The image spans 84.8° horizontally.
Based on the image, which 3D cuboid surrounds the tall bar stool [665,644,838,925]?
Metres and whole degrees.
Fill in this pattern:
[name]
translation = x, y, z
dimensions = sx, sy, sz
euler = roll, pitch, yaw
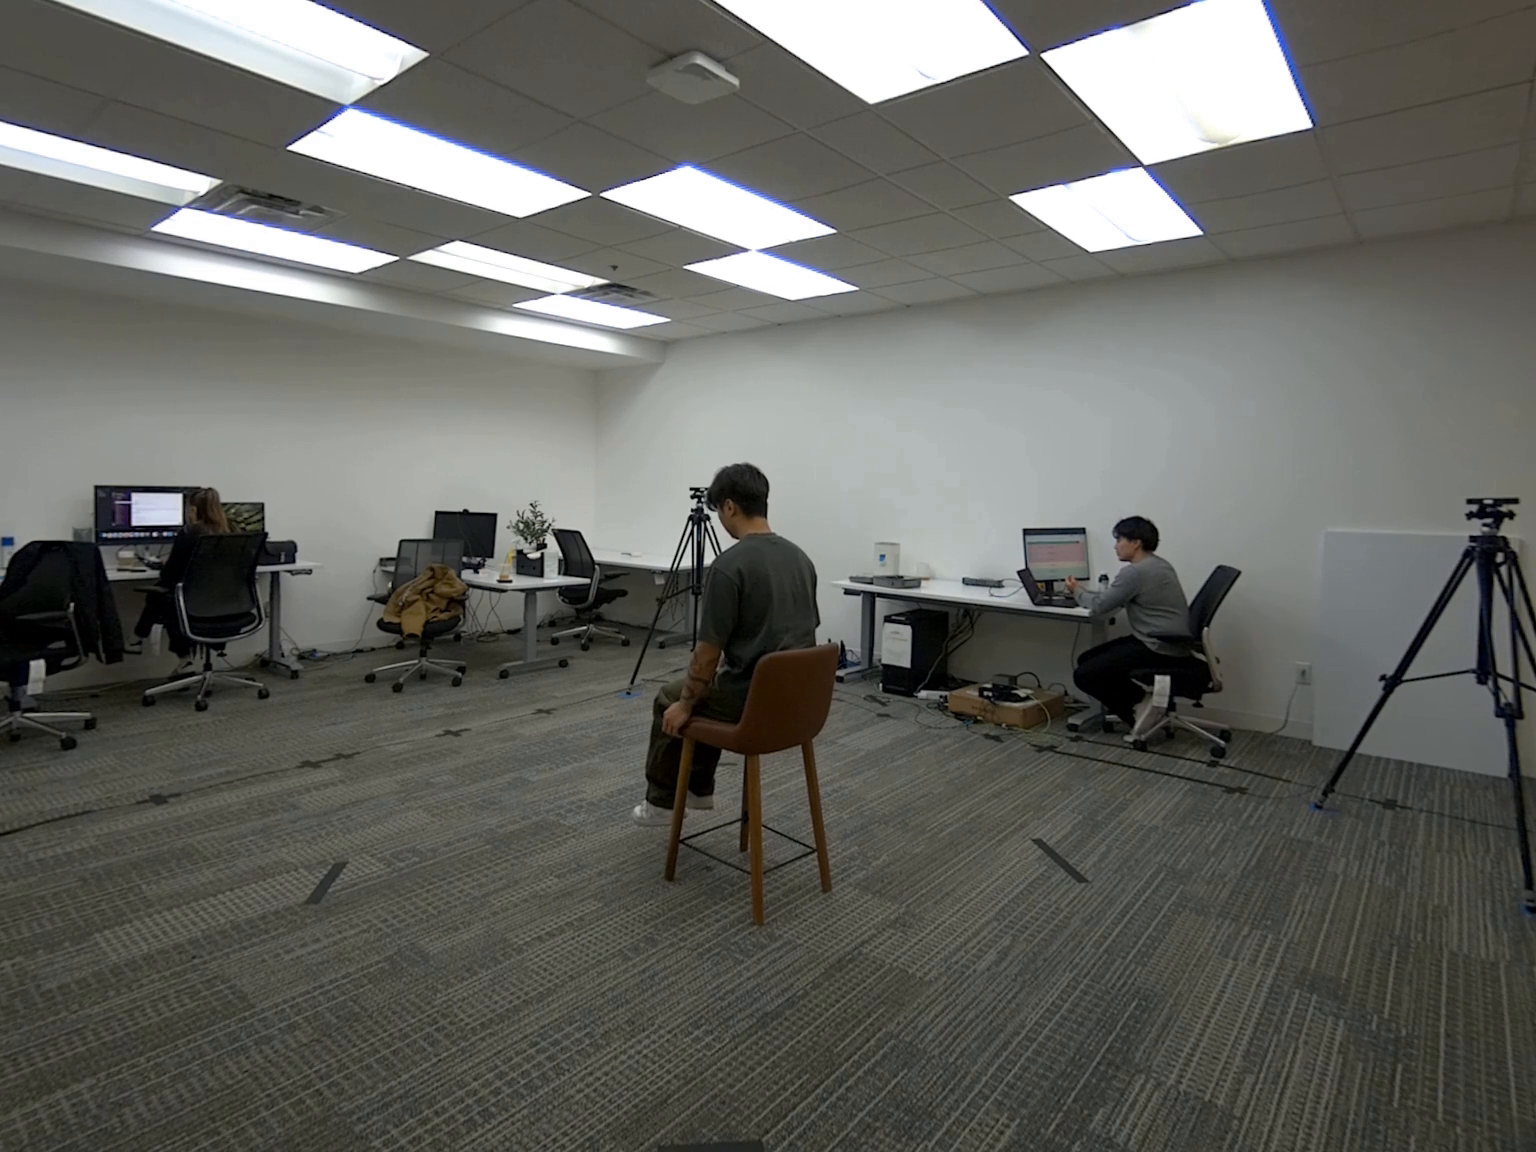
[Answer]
[tall bar stool]
translation = -0.052, 0.647, 2.959
dimensions = 0.484, 0.886, 0.442
euler = 8, 6, 44
